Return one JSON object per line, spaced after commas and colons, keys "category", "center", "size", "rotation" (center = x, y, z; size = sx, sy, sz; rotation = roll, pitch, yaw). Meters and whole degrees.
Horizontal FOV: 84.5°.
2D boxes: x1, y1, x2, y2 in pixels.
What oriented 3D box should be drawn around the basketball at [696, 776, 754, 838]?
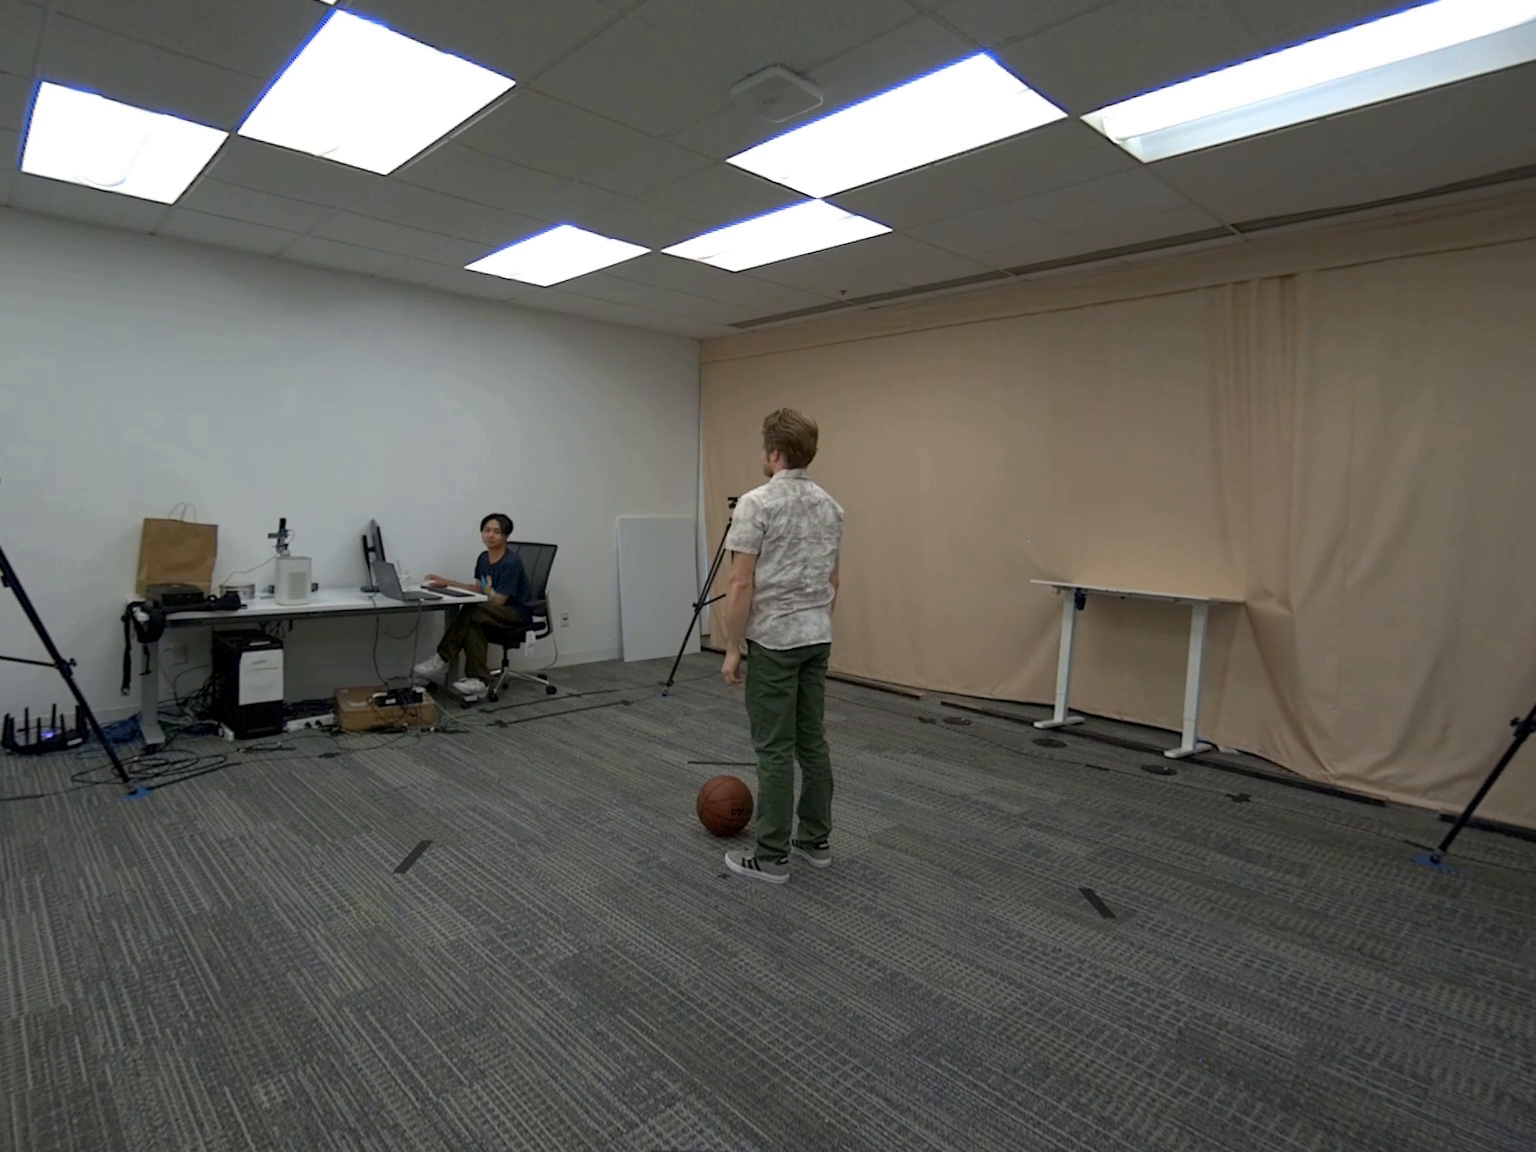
{"category": "basketball", "center": [-0.186, 0.950, 3.498], "size": [0.236, 0.235, 0.237], "rotation": [1, 4, -1]}
